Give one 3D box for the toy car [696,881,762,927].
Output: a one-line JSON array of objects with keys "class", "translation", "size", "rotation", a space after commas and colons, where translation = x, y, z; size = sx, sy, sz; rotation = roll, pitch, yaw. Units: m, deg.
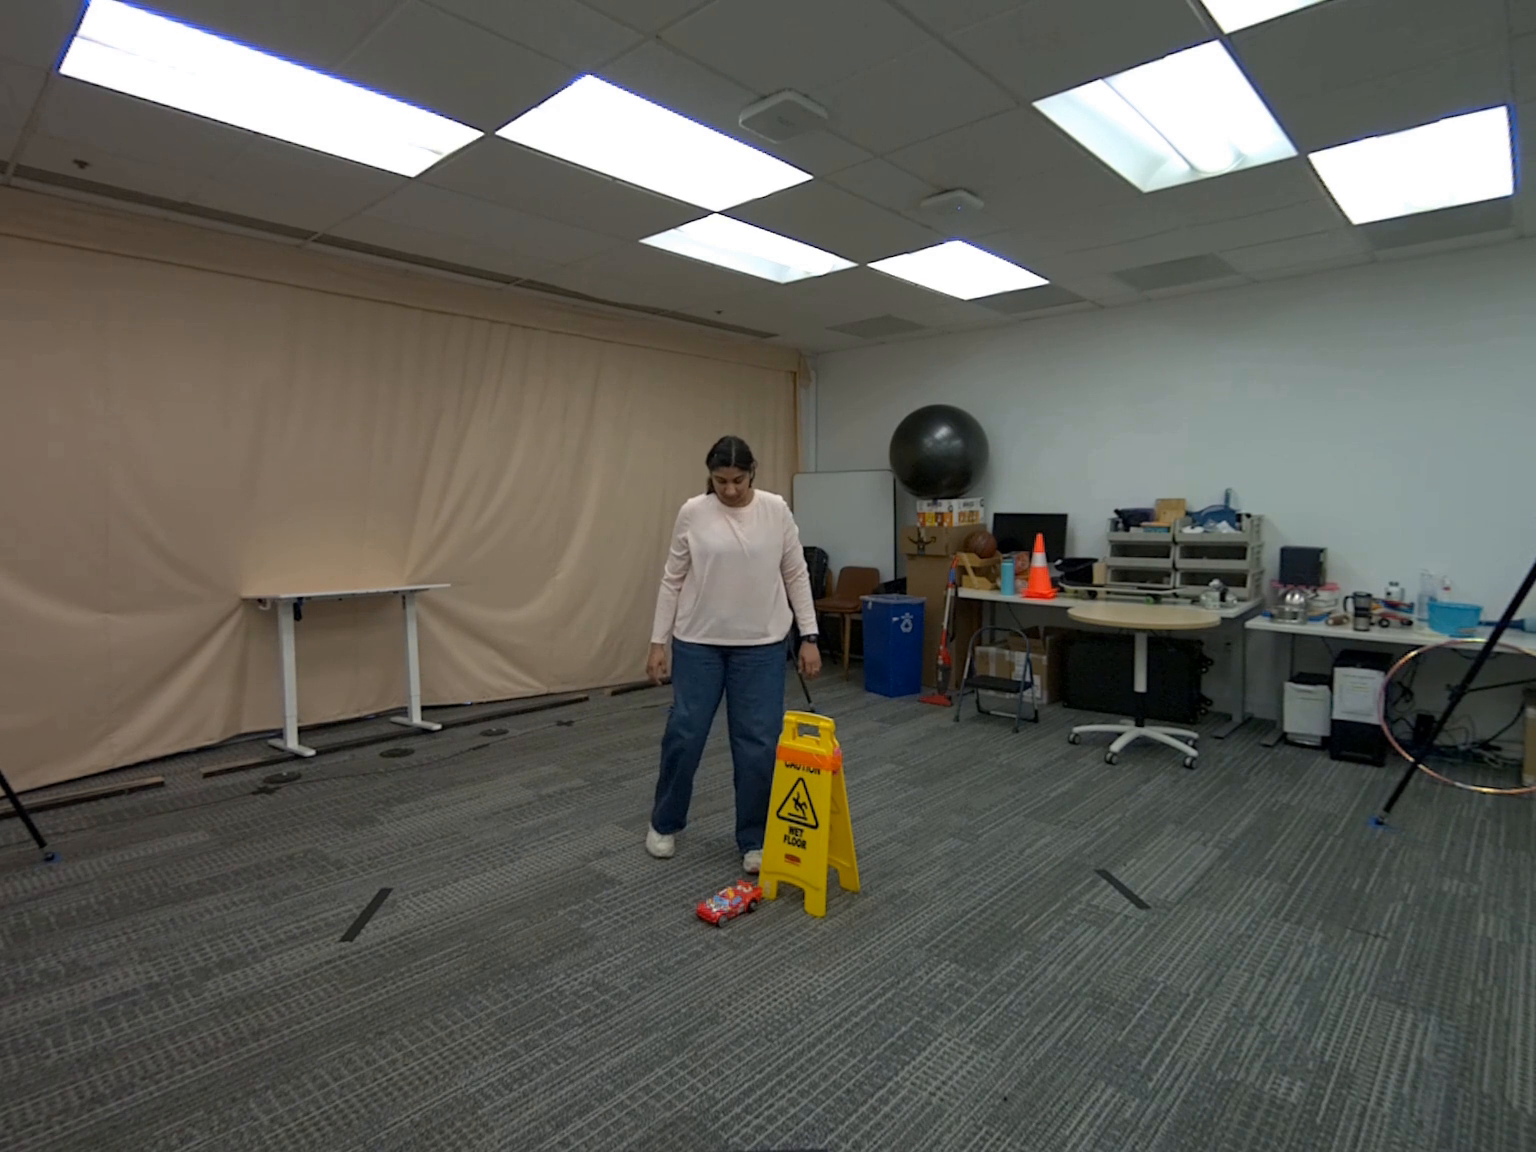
[{"class": "toy car", "translation": [-0.124, 1.123, 2.884], "size": [0.134, 0.082, 0.248], "rotation": [3, 16, 45]}]
